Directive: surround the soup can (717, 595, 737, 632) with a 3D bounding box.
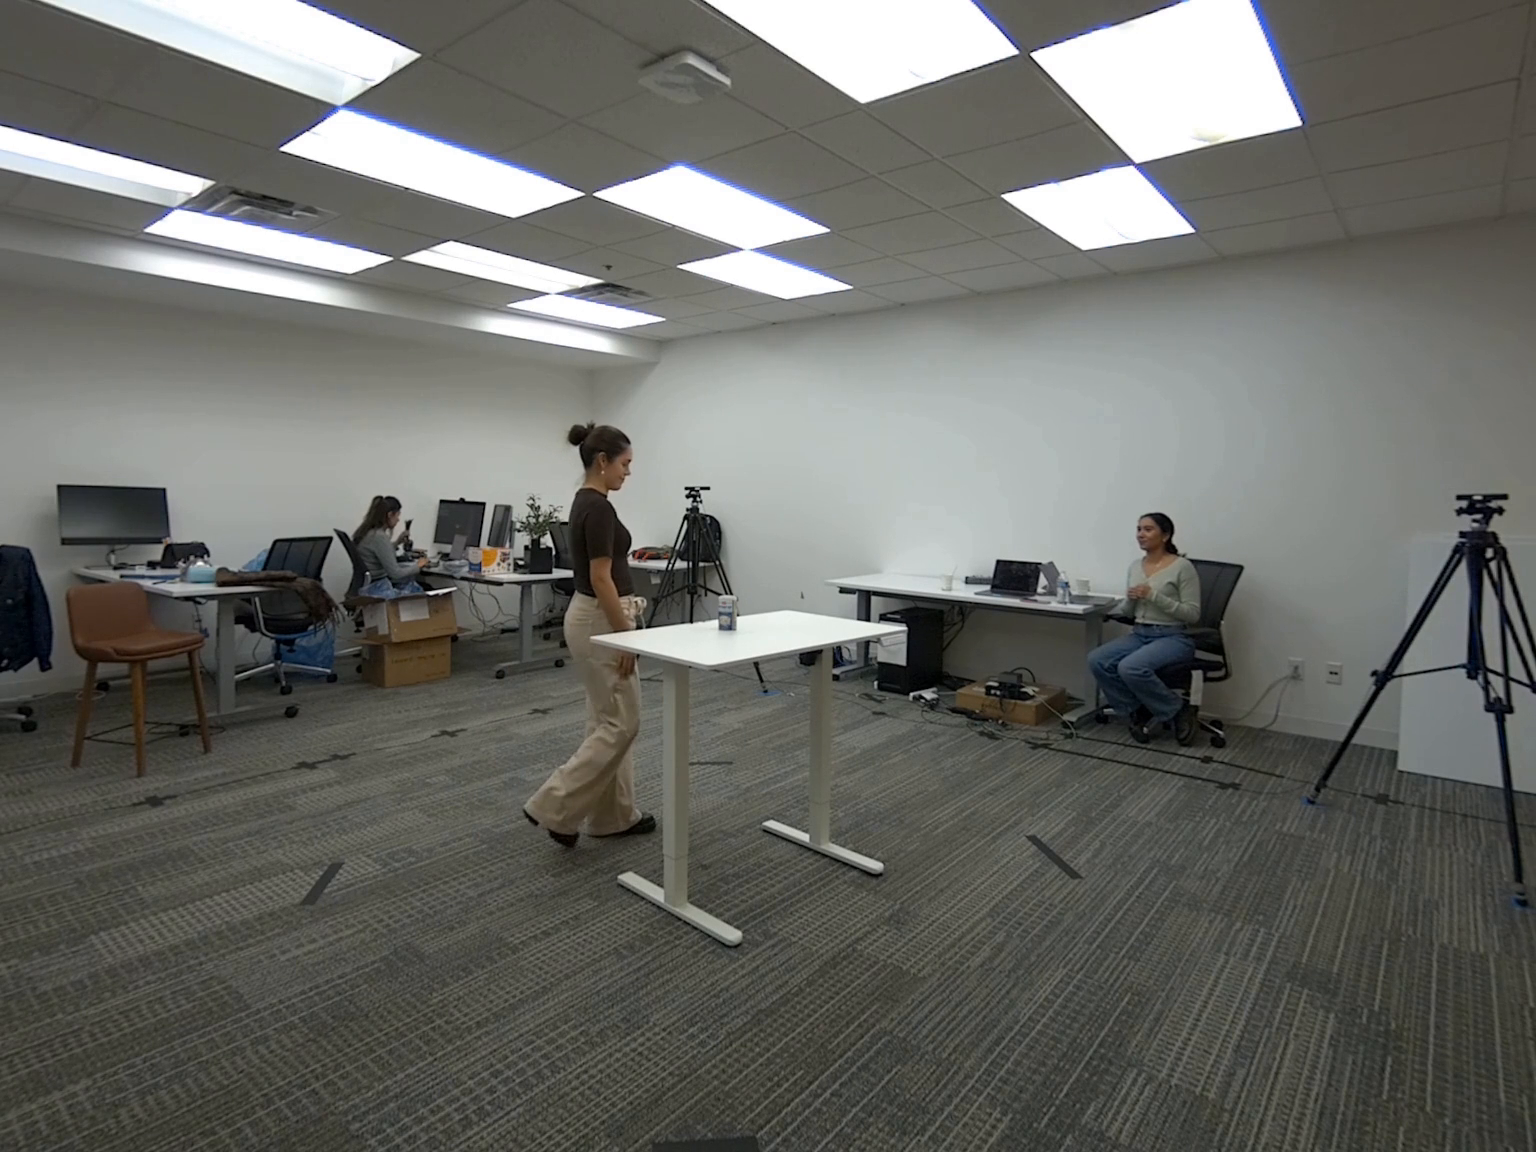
[{"bbox_3d":[-0.157,0.130,3.049,0.067,0.121,0.067,-1,2,-2],"label":"soup can"}]
